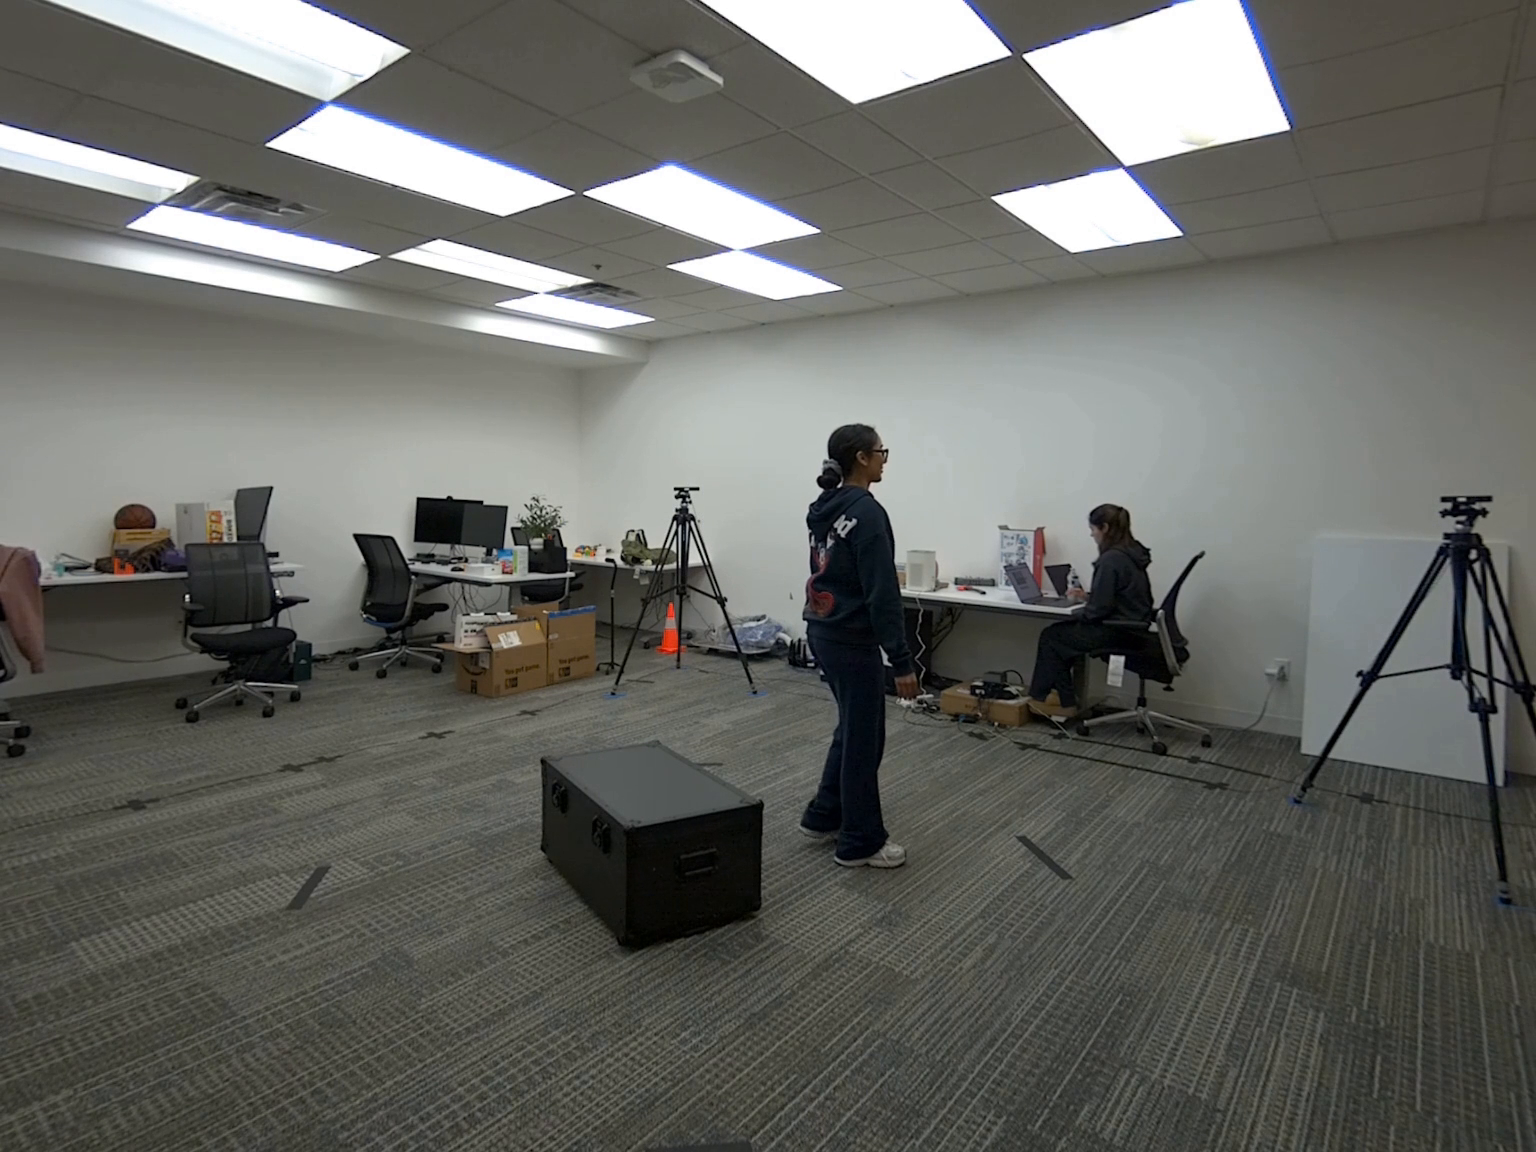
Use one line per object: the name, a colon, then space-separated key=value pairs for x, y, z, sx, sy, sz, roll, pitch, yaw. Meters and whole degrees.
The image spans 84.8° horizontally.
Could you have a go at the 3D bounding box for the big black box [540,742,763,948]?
big black box: x=-0.473 y=0.894 z=2.982 sx=0.384 sy=0.520 sz=0.890 roll=1 pitch=4 yaw=-36
